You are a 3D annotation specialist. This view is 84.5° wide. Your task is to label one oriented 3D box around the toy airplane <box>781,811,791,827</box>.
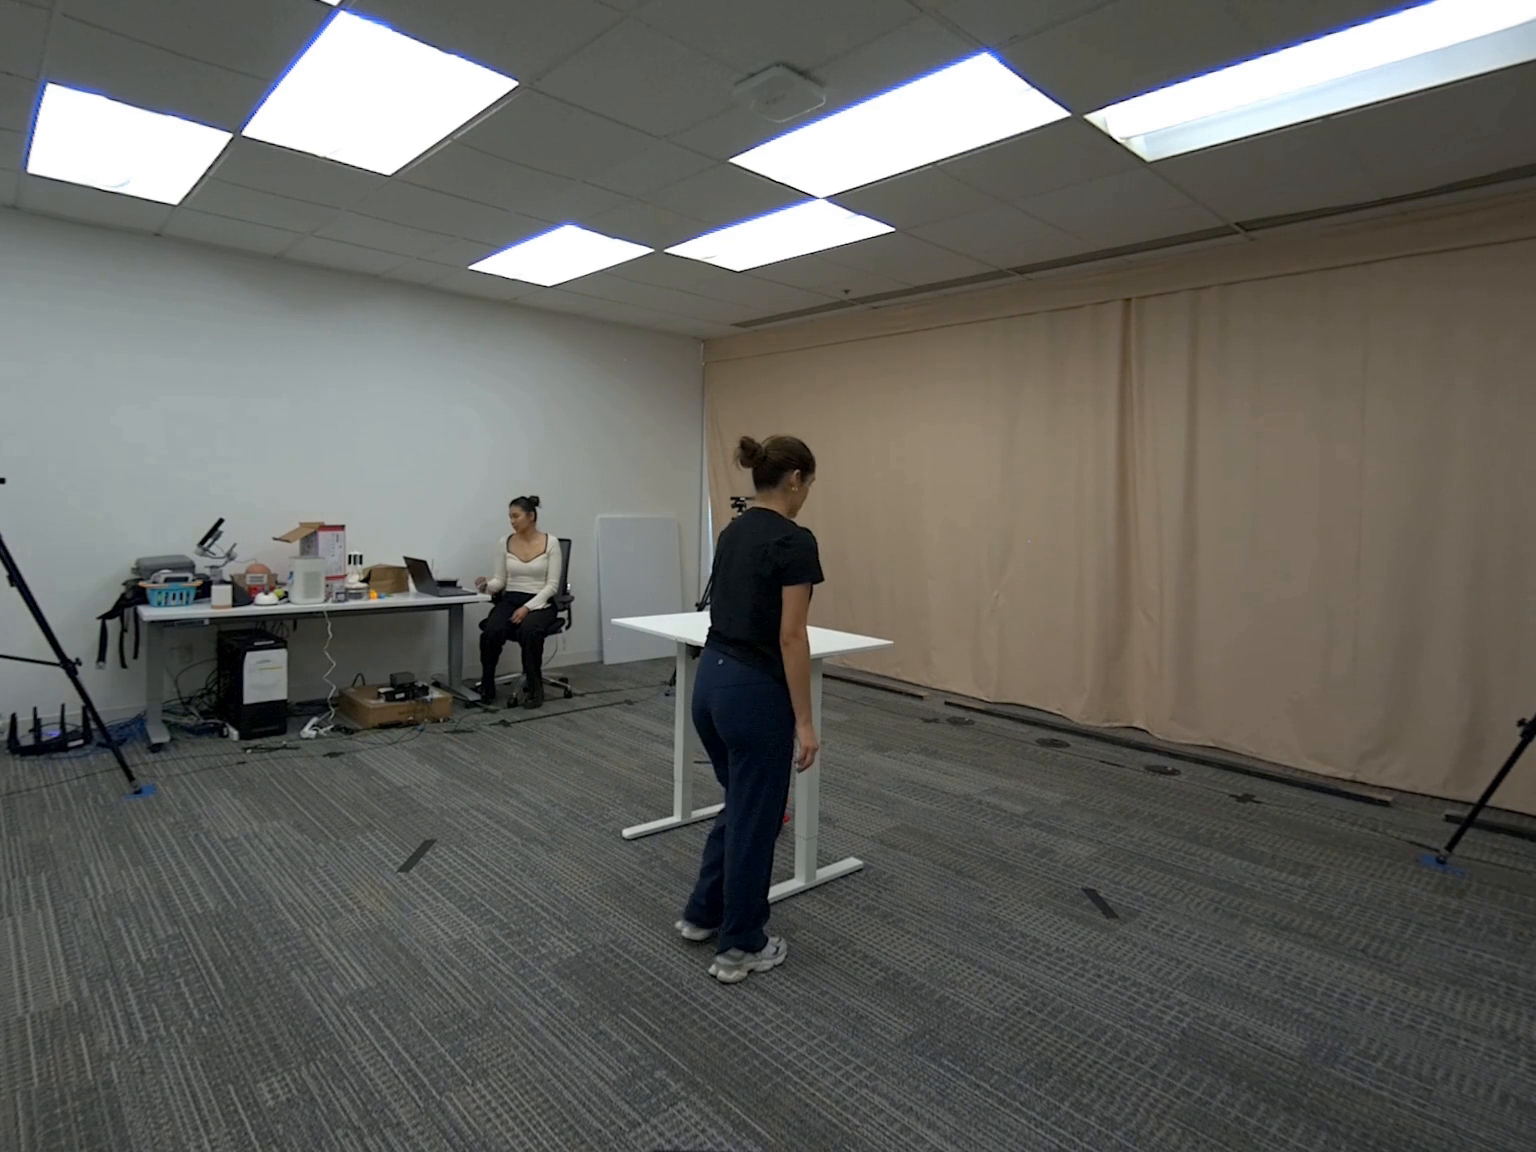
[{"bbox_3d":[-0.037,1.005,3.532,0.255,0.156,0.256,2,2,17],"label":"toy airplane"}]
